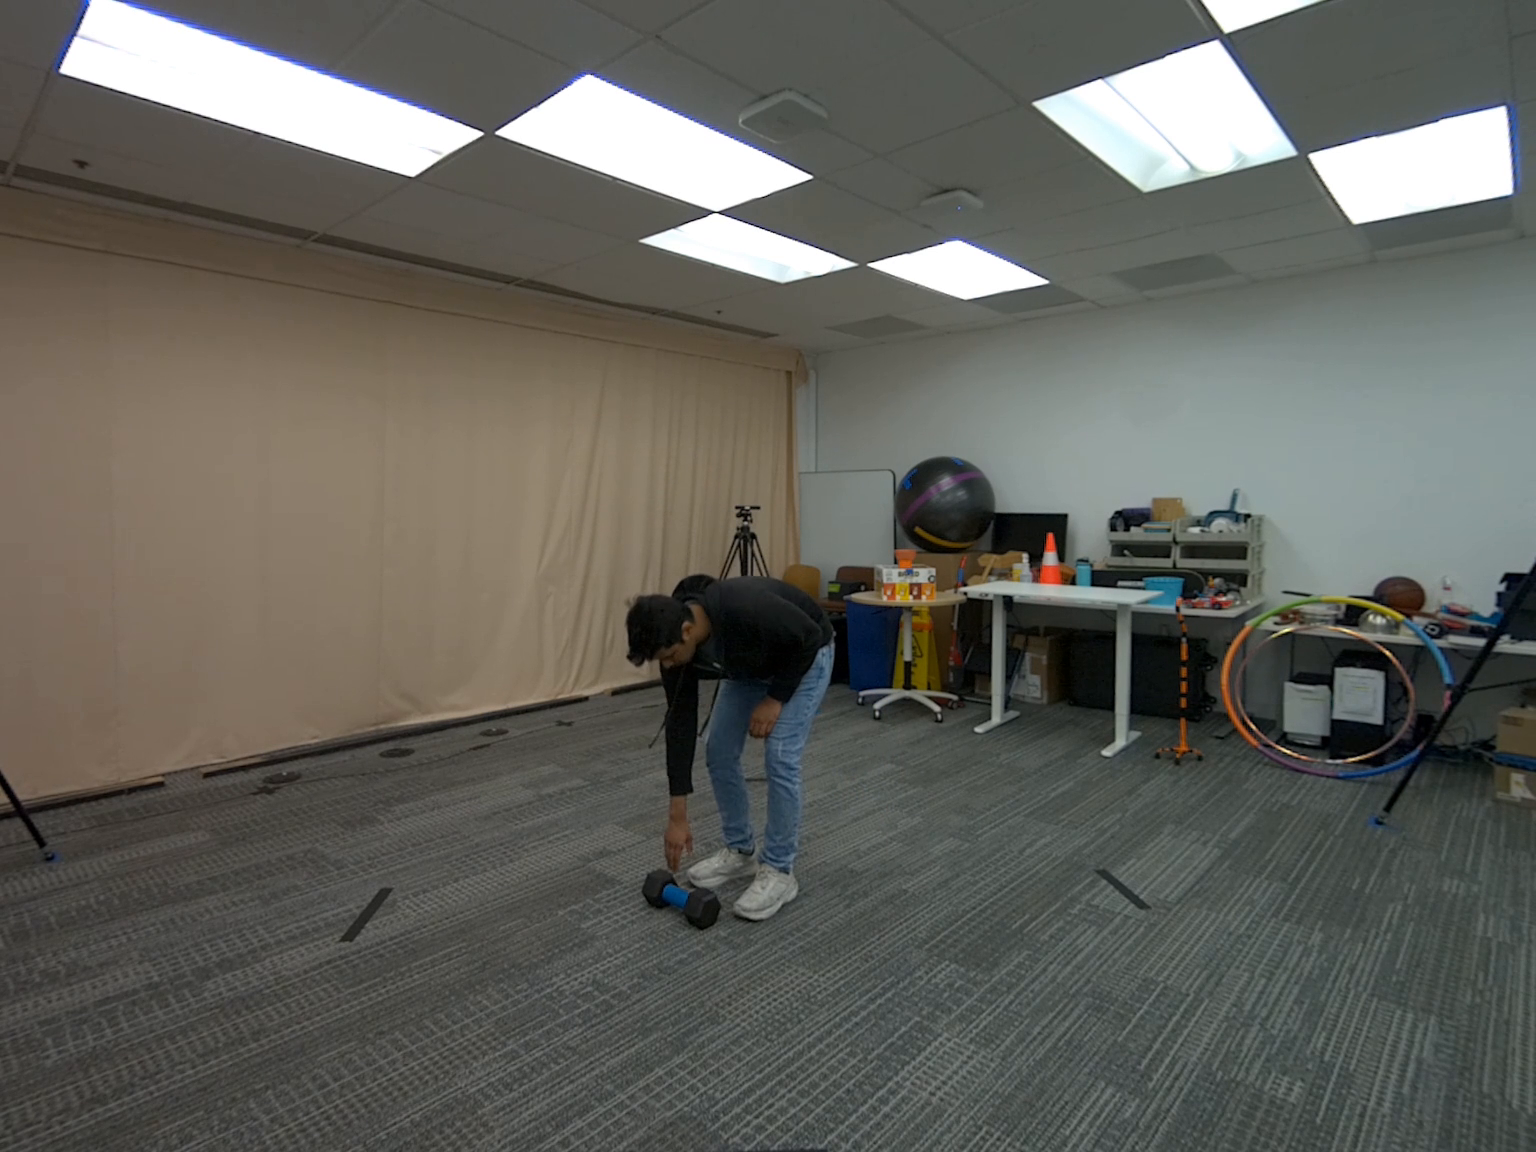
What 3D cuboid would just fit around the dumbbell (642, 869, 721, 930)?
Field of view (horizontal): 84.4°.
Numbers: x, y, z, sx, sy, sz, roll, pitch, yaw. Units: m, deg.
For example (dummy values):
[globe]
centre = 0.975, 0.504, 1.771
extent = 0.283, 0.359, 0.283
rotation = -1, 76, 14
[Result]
[dumbbell]
centre = -0.295, 1.101, 2.873
extent = 0.303, 0.123, 0.105
rotation = 4, -22, 43
